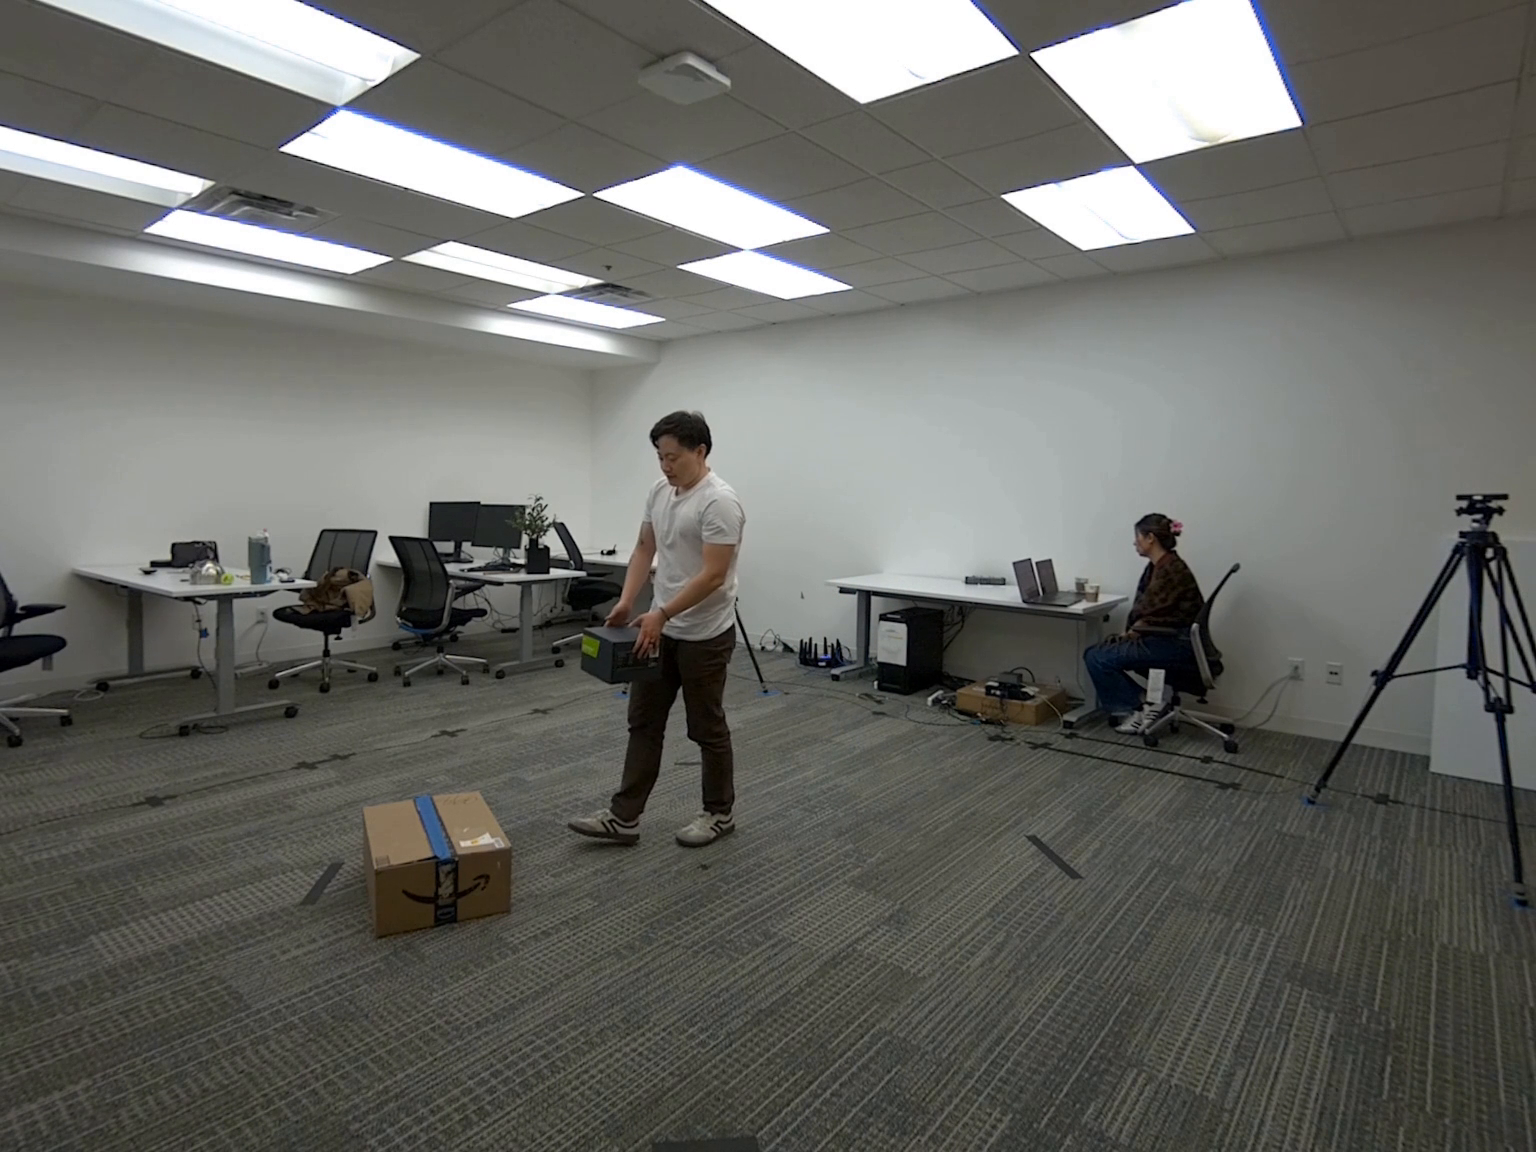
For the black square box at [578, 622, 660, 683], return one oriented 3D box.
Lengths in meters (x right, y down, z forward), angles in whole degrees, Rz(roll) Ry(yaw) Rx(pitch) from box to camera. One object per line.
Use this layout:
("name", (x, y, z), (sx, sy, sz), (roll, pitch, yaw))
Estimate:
("black square box", (-0.554, 0.279, 3.138), (0.210, 0.155, 0.236), (-1, 9, -38))
